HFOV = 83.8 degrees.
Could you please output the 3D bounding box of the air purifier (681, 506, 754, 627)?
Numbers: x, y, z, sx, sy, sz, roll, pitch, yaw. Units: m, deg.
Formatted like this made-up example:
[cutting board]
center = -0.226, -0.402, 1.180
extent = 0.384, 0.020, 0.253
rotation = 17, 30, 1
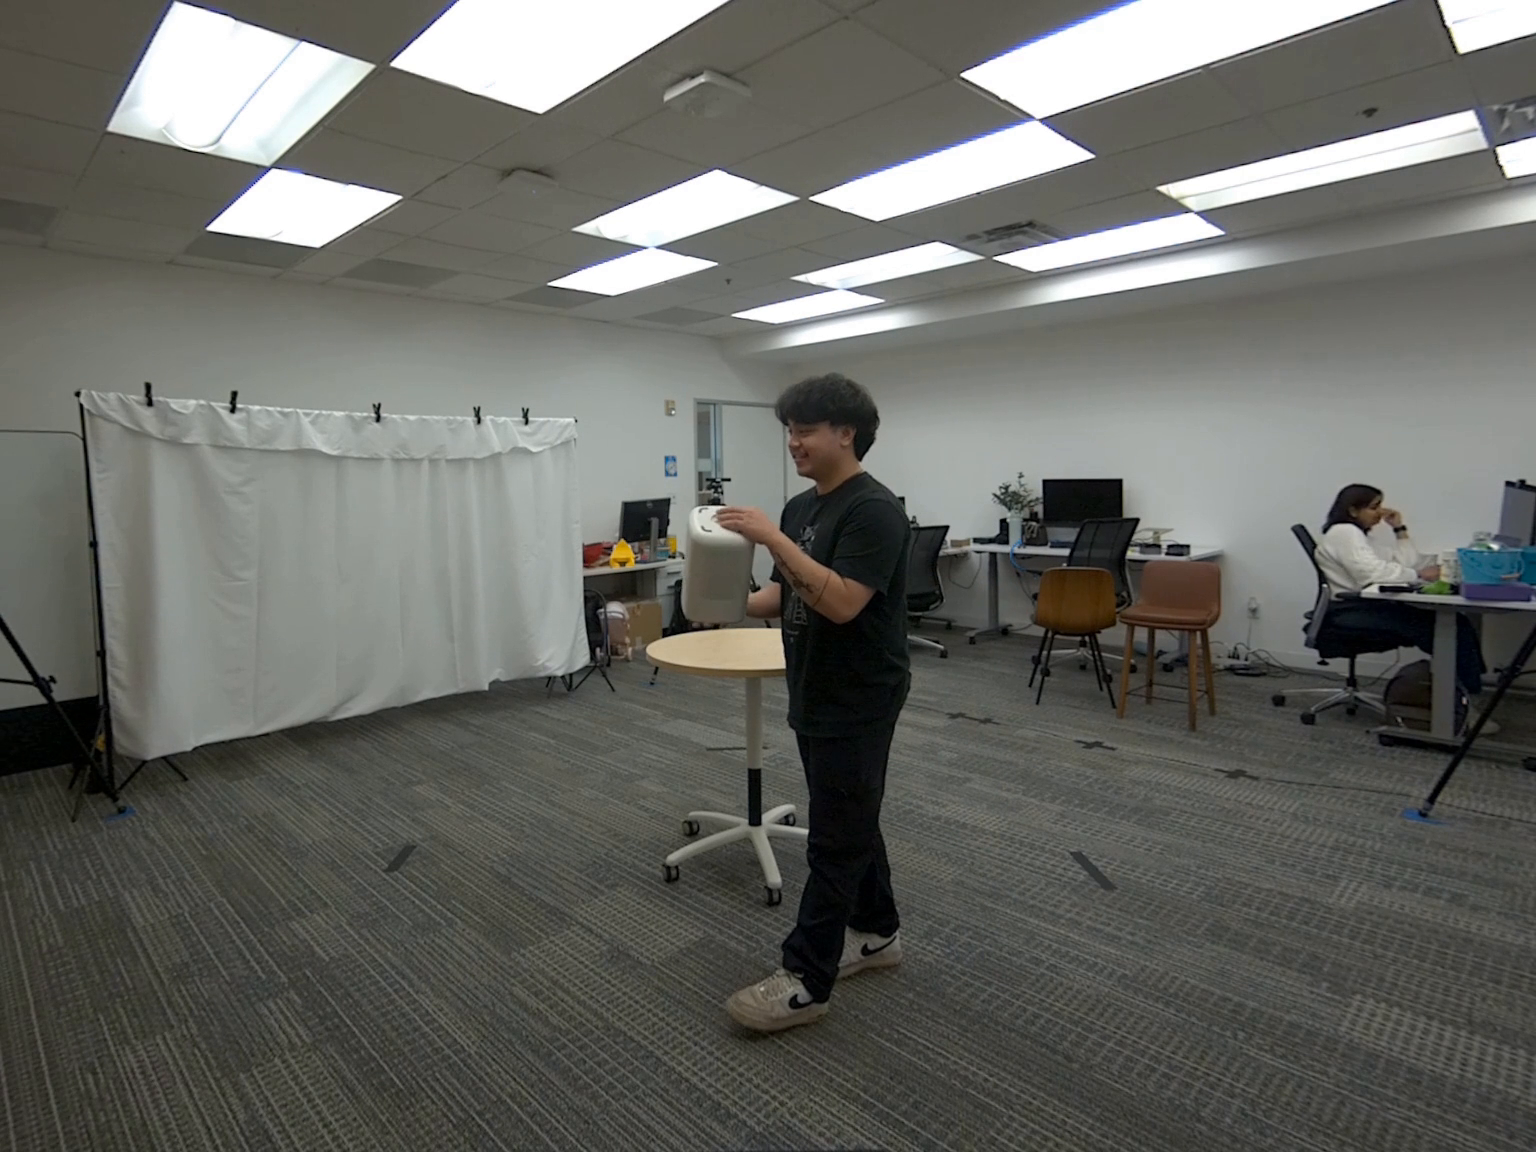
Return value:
[air purifier]
center = -0.124, -0.032, 2.198
extent = 0.170, 0.260, 0.176
rotation = 4, 33, -8
